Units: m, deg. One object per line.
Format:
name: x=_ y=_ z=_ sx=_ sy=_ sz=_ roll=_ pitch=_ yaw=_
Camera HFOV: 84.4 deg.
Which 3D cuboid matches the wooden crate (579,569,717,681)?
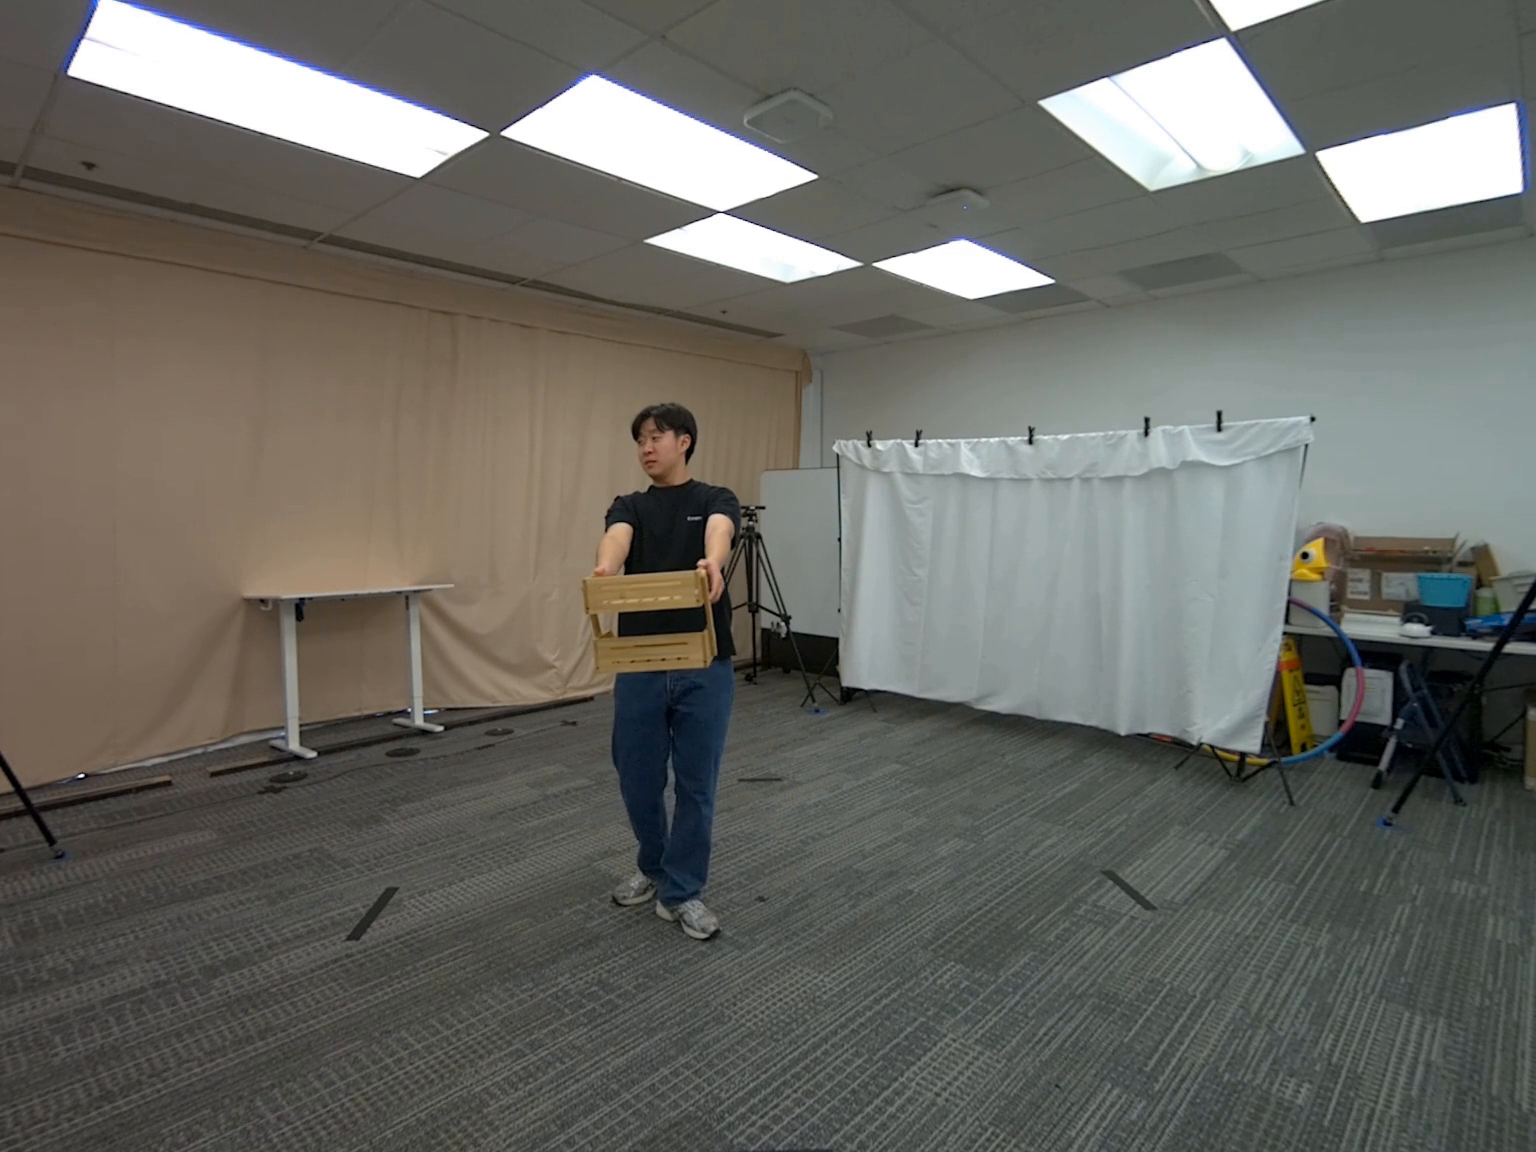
wooden crate: x=-0.314 y=0.108 z=2.322 sx=0.325 sy=0.272 sz=0.302 roll=-4 pitch=4 yaw=2
